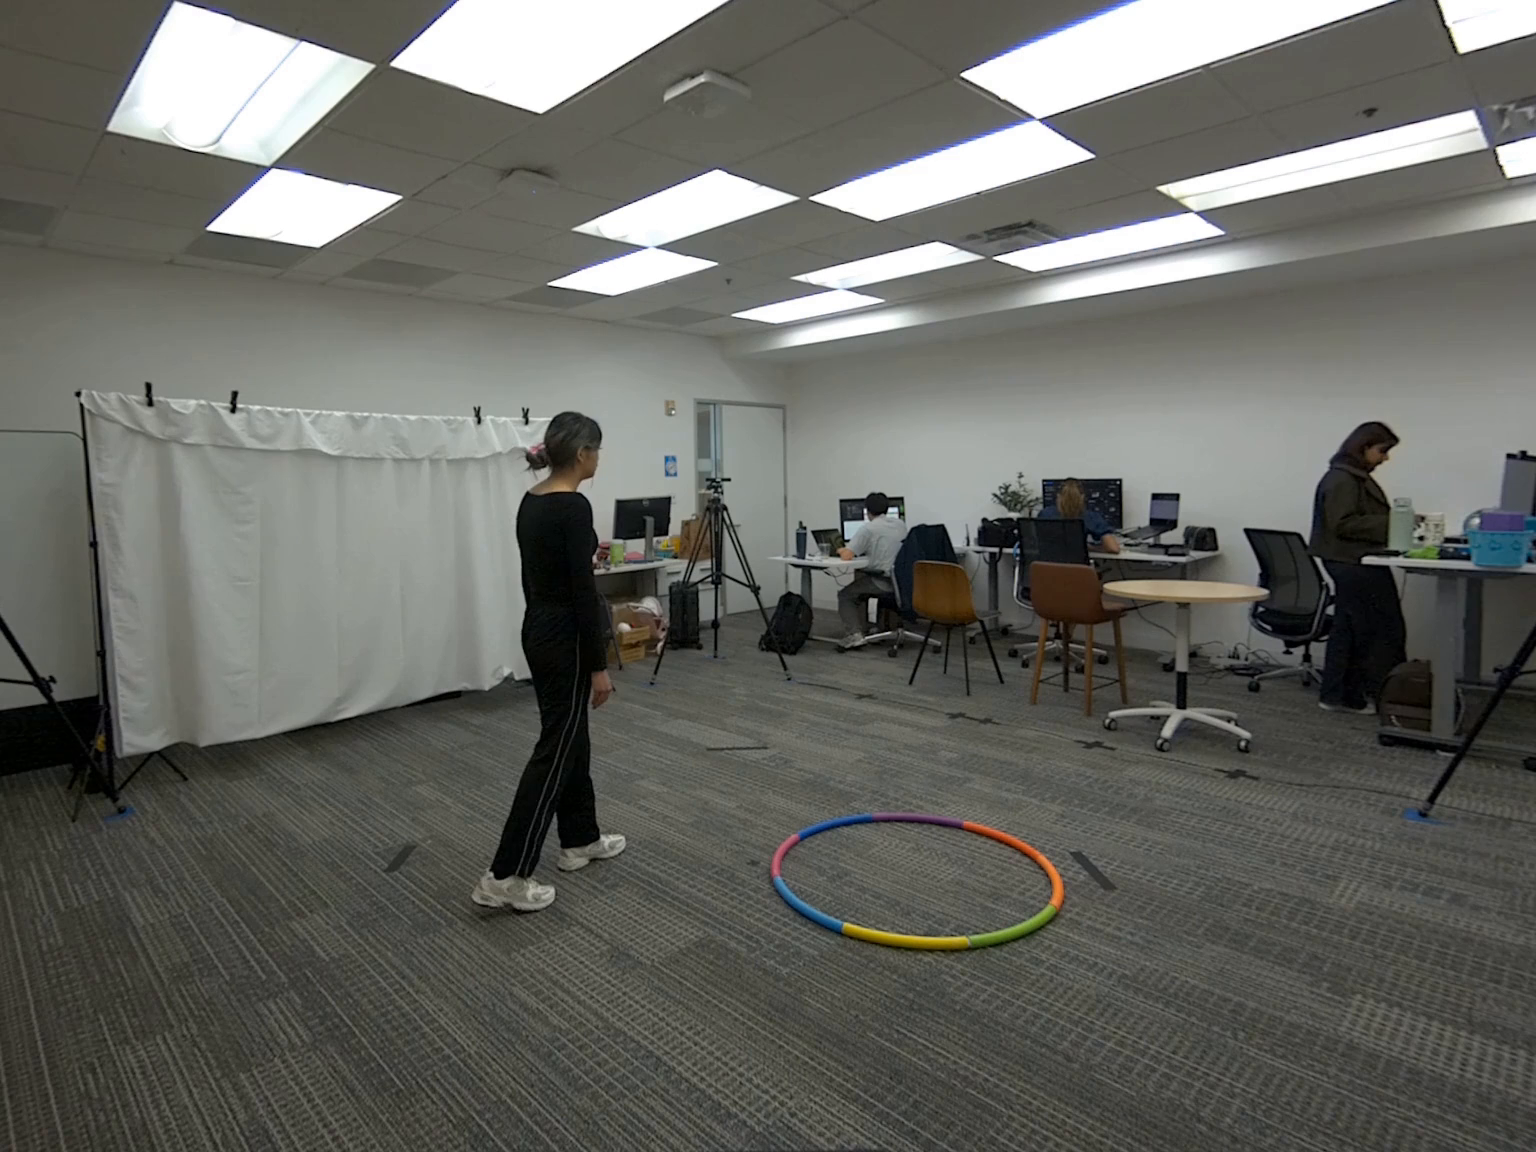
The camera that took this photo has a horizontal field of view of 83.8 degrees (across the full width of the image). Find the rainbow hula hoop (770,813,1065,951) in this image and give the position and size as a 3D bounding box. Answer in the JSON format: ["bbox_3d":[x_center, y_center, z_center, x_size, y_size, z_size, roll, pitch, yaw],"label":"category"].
[{"bbox_3d":[0.500,1.017,2.990,0.978,0.035,0.984,-2,6,-2],"label":"rainbow hula hoop"}]
